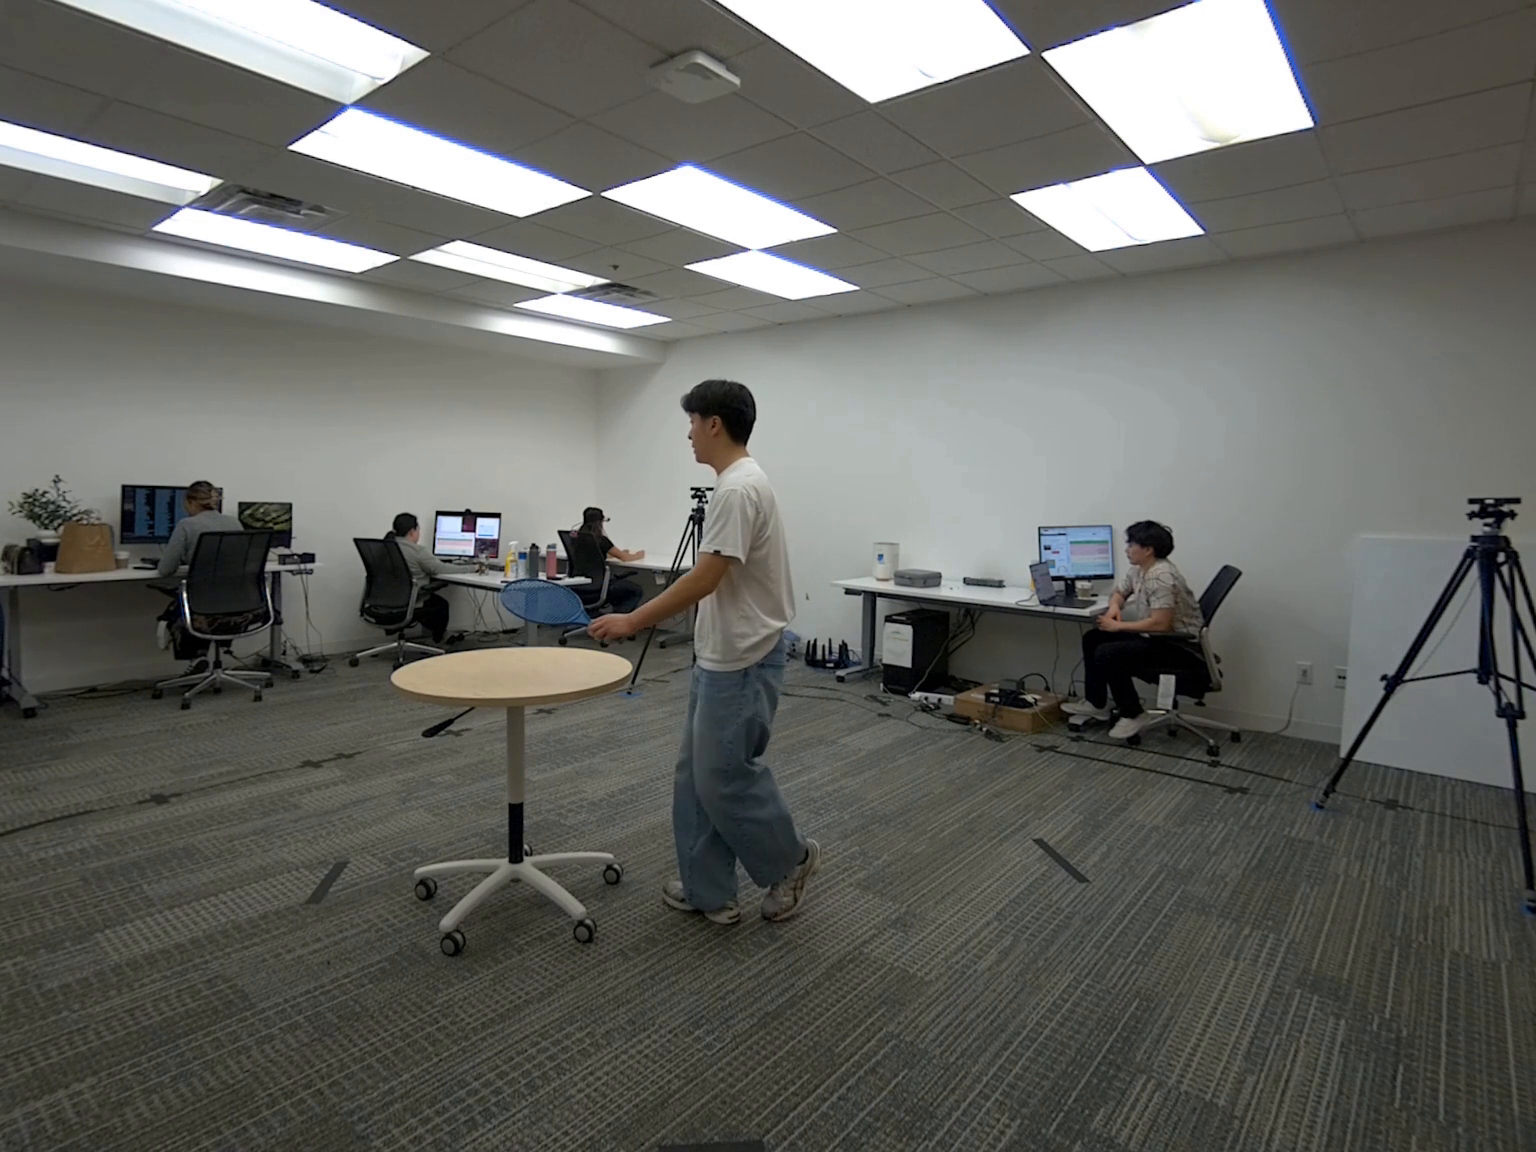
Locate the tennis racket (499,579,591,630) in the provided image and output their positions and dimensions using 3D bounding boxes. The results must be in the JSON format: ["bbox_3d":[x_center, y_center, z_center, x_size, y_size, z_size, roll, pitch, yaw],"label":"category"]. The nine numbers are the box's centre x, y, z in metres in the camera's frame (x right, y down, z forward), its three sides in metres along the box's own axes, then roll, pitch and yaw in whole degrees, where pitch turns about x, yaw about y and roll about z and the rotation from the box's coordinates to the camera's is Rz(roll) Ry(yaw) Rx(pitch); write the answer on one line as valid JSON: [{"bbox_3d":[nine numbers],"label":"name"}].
[{"bbox_3d":[-0.615,0.115,2.624,0.439,0.031,0.215,18,37,11],"label":"tennis racket"}]
